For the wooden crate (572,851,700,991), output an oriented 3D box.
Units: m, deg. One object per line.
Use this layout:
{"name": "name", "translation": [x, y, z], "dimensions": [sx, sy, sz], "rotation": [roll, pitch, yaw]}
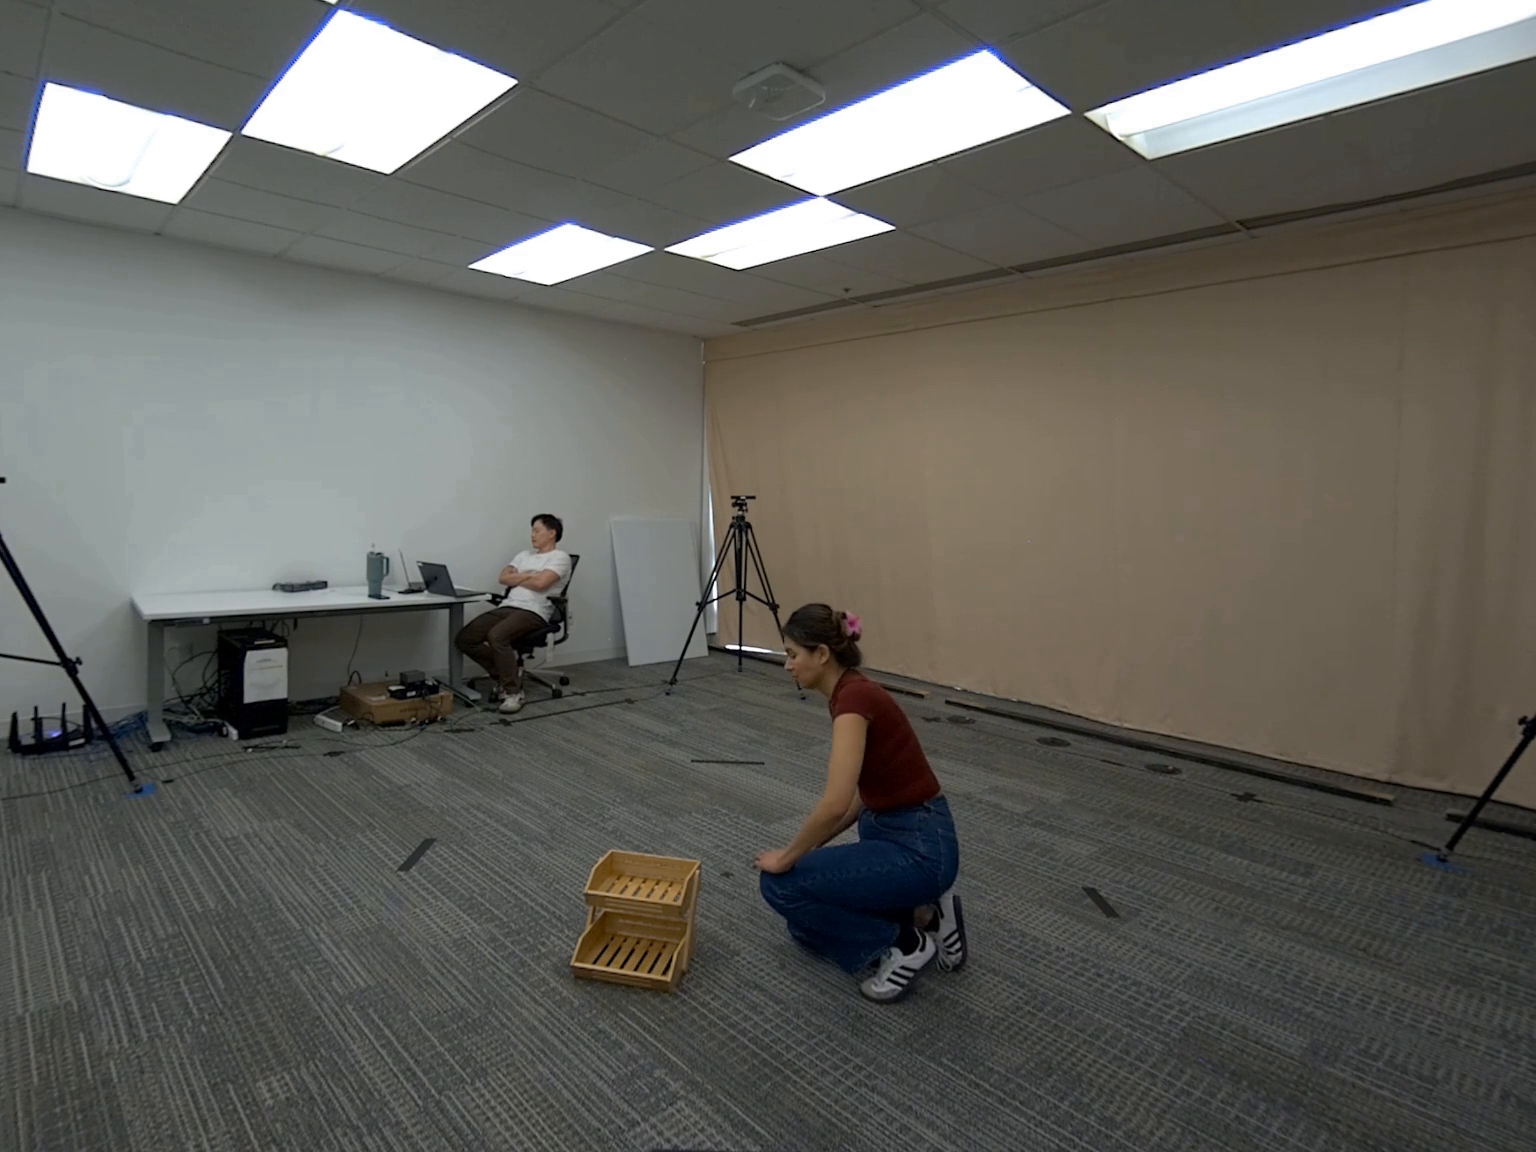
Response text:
{"name": "wooden crate", "translation": [-0.387, 1.017, 2.500], "dimensions": [0.328, 0.272, 0.300], "rotation": [2, 5, 12]}
